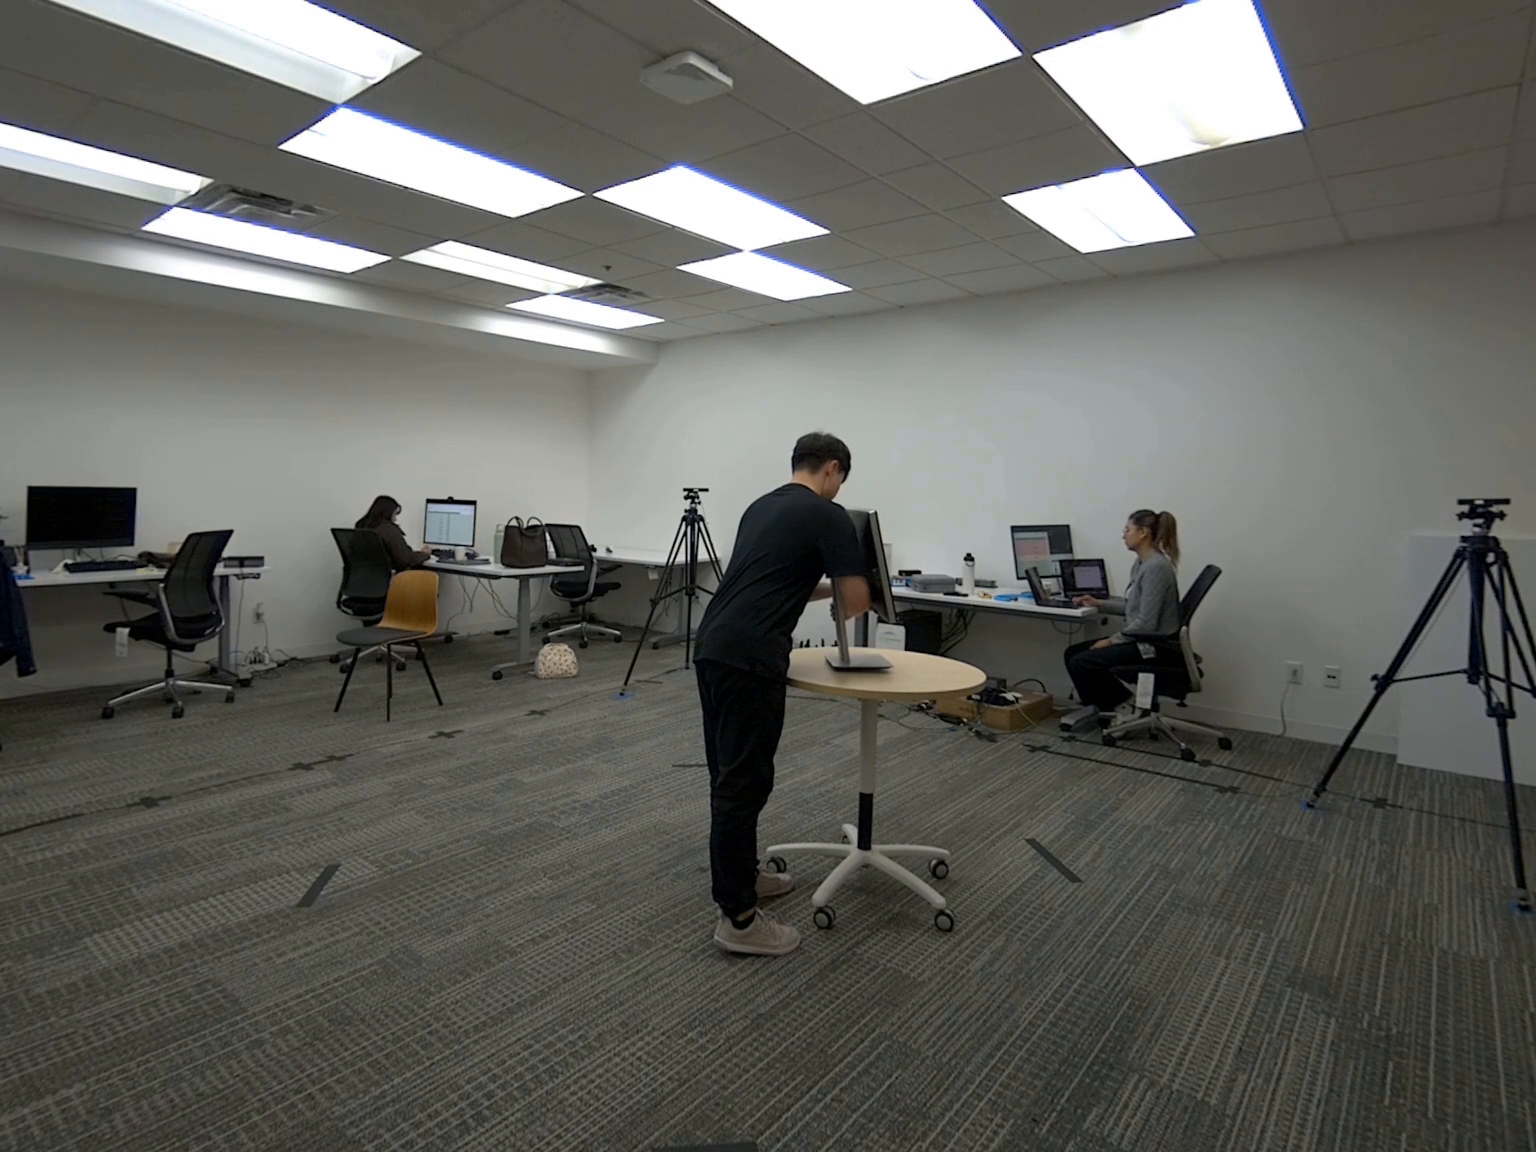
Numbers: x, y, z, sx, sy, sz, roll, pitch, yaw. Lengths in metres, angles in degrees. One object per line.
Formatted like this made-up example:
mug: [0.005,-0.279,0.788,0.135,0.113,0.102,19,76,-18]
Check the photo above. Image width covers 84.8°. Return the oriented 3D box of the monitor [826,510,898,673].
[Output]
monitor: [0.296,0.047,2.966,0.186,0.521,0.544,-1,5,-7]
